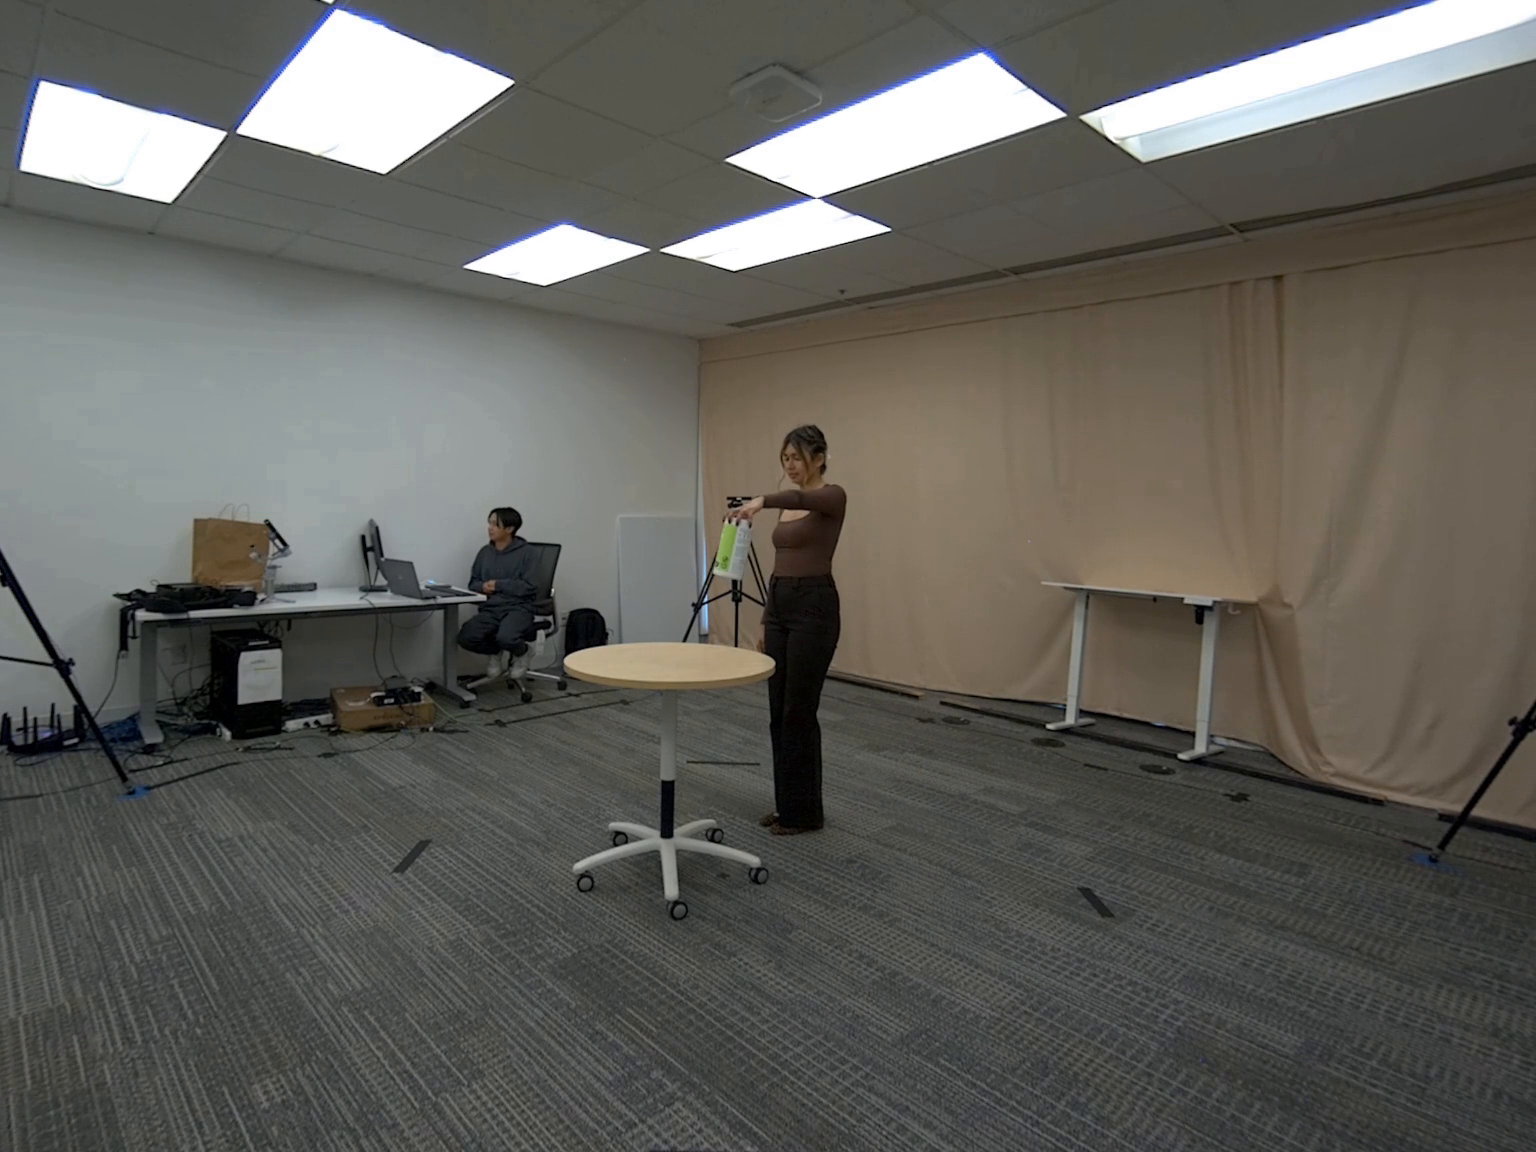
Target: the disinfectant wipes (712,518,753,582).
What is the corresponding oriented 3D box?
[{"bbox_3d":[-0.125,-0.094,3.026,0.118,0.218,0.118,13,-2,-1],"label":"disinfectant wipes"}]
